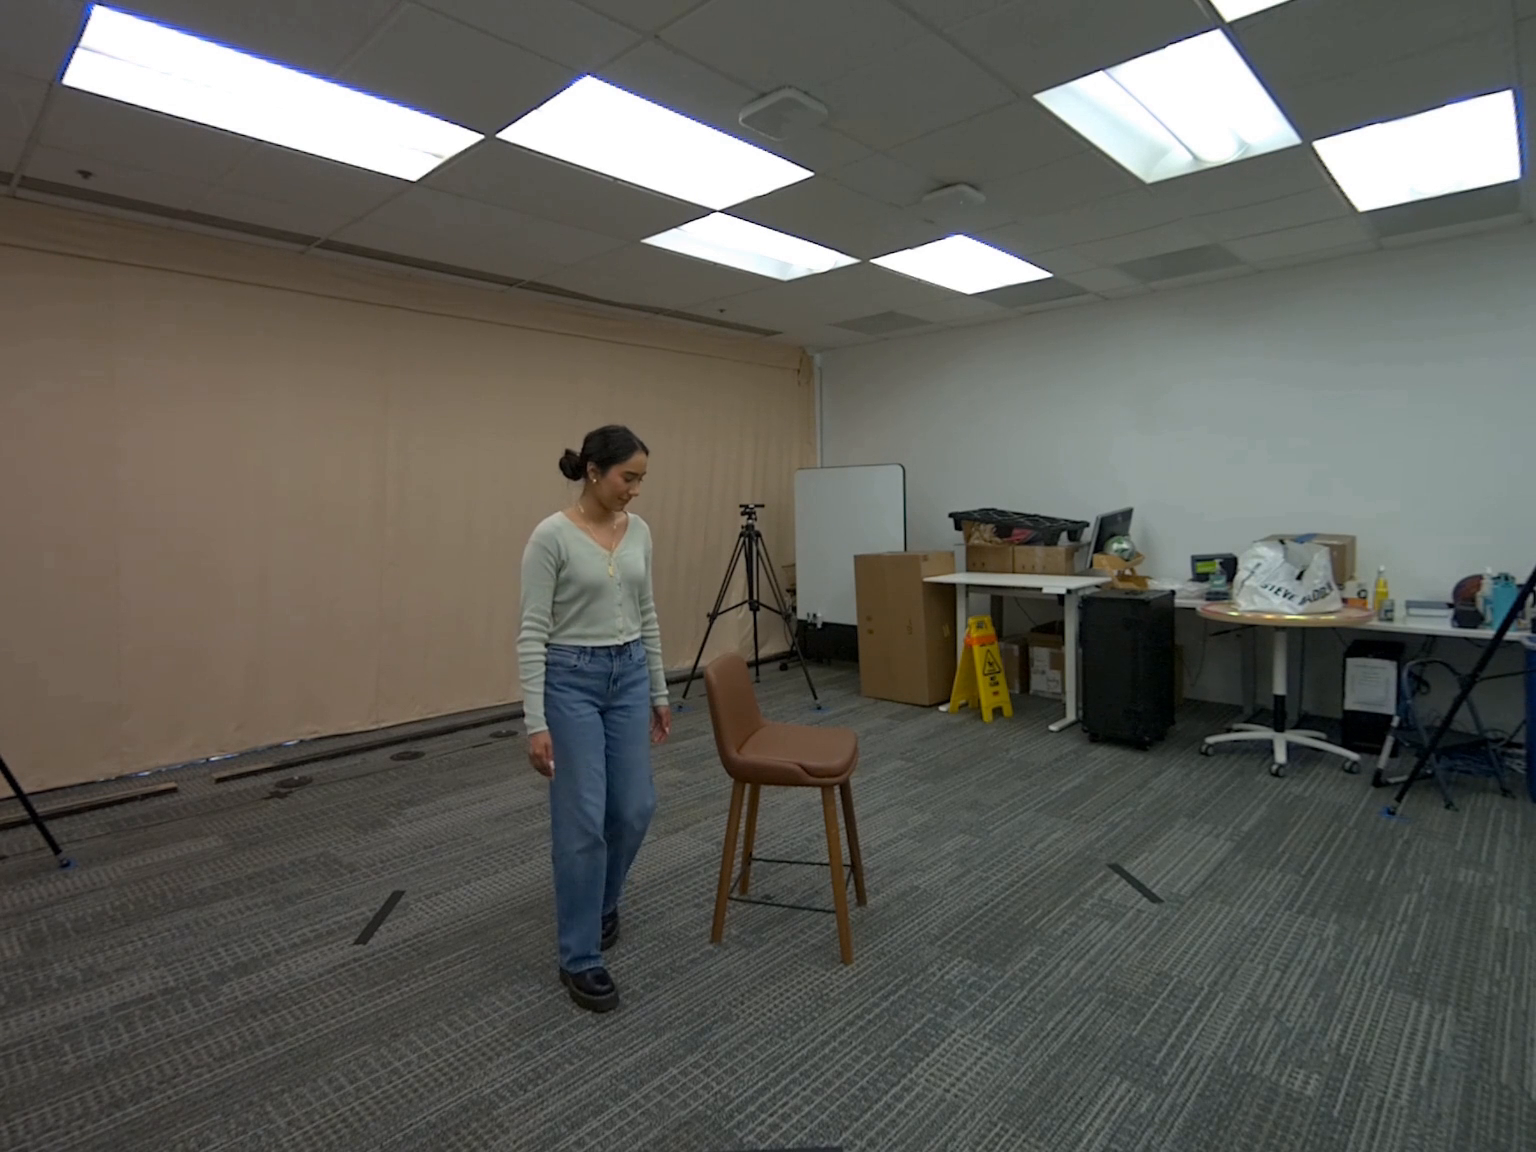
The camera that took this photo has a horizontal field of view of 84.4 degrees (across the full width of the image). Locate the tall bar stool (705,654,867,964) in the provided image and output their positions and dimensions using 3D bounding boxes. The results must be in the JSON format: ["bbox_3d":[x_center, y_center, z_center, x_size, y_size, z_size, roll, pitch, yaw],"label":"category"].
[{"bbox_3d":[0.068,0.722,2.770,0.476,0.888,0.449,-1,3,17],"label":"tall bar stool"}]
